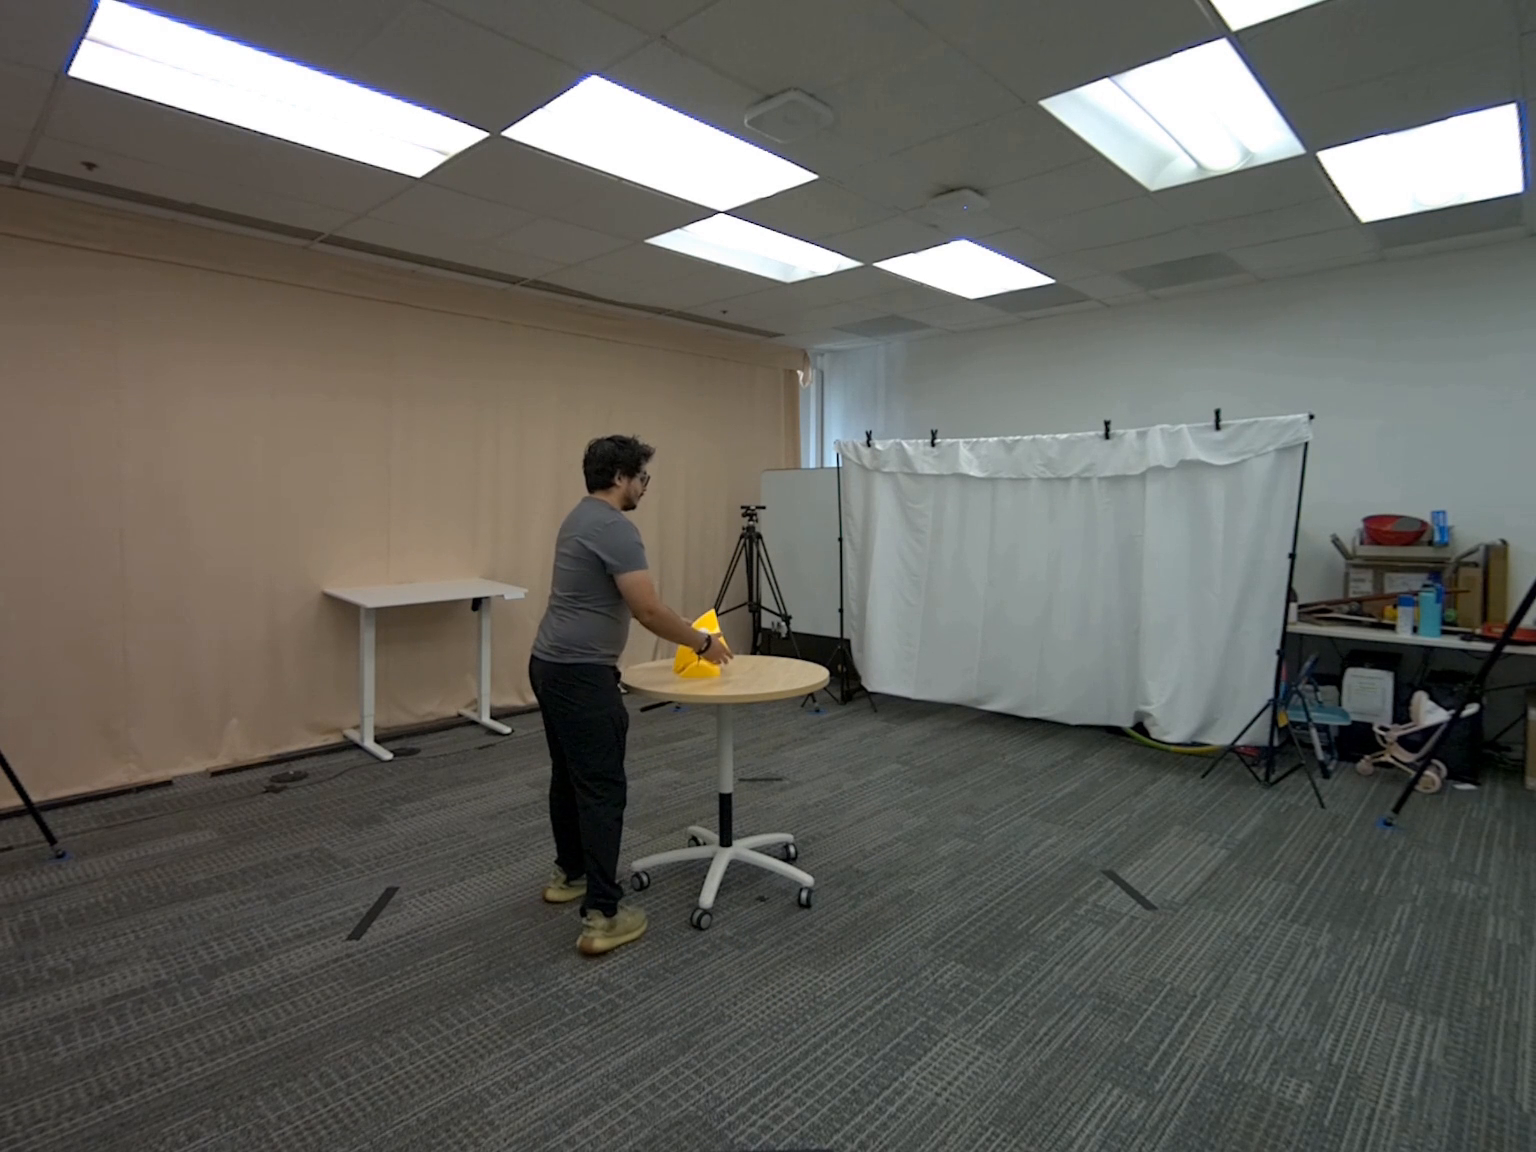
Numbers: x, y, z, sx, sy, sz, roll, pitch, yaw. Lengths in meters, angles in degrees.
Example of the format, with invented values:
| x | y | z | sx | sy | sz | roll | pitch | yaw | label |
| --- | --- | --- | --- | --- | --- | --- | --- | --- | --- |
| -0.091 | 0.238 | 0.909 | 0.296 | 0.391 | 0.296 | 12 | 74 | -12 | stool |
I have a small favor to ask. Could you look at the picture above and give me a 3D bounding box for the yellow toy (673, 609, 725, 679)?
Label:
| x | y | z | sx | sy | sz | roll | pitch | yaw | label |
| --- | --- | --- | --- | --- | --- | --- | --- | --- | --- |
| -0.250 | 0.241 | 3.095 | 0.190 | 0.230 | 0.209 | -1 | 3 | -18 | yellow toy |
